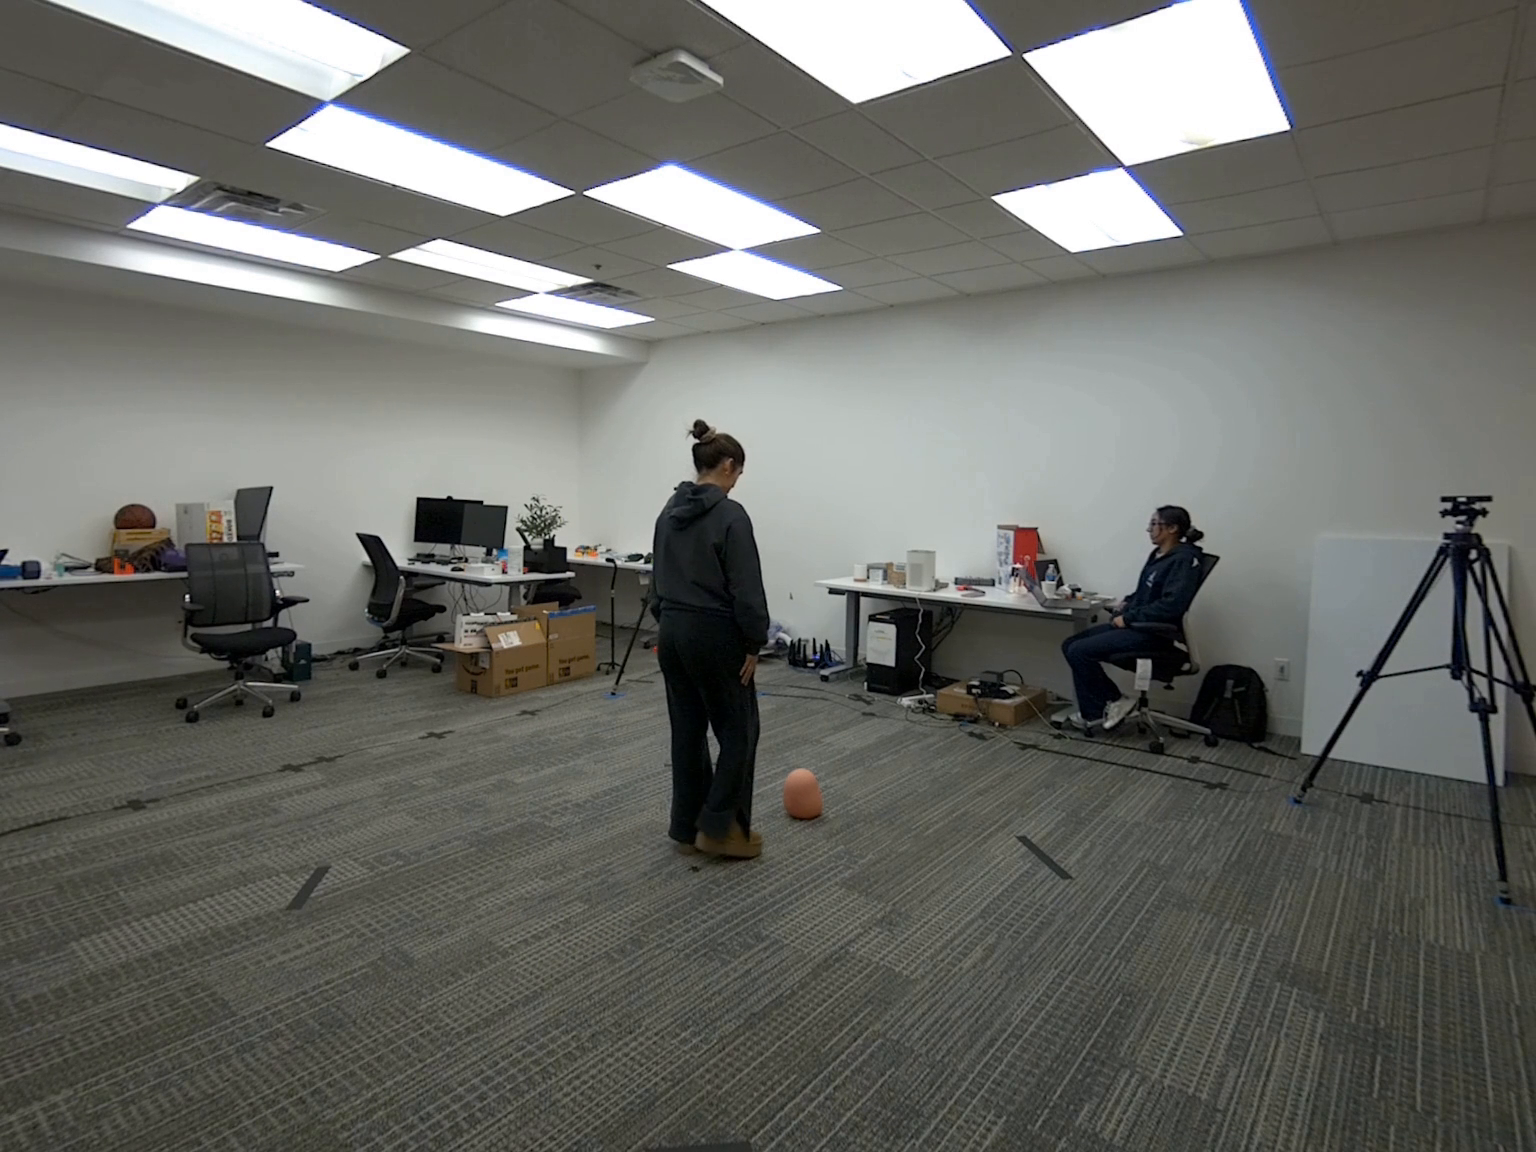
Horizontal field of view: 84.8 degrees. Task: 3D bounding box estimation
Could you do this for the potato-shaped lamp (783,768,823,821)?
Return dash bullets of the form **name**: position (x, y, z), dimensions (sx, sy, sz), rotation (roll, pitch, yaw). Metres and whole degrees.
- **potato-shaped lamp**: position (0.148, 0.923, 3.642), dimensions (0.166, 0.197, 0.170), rotation (-3, 6, -43)
